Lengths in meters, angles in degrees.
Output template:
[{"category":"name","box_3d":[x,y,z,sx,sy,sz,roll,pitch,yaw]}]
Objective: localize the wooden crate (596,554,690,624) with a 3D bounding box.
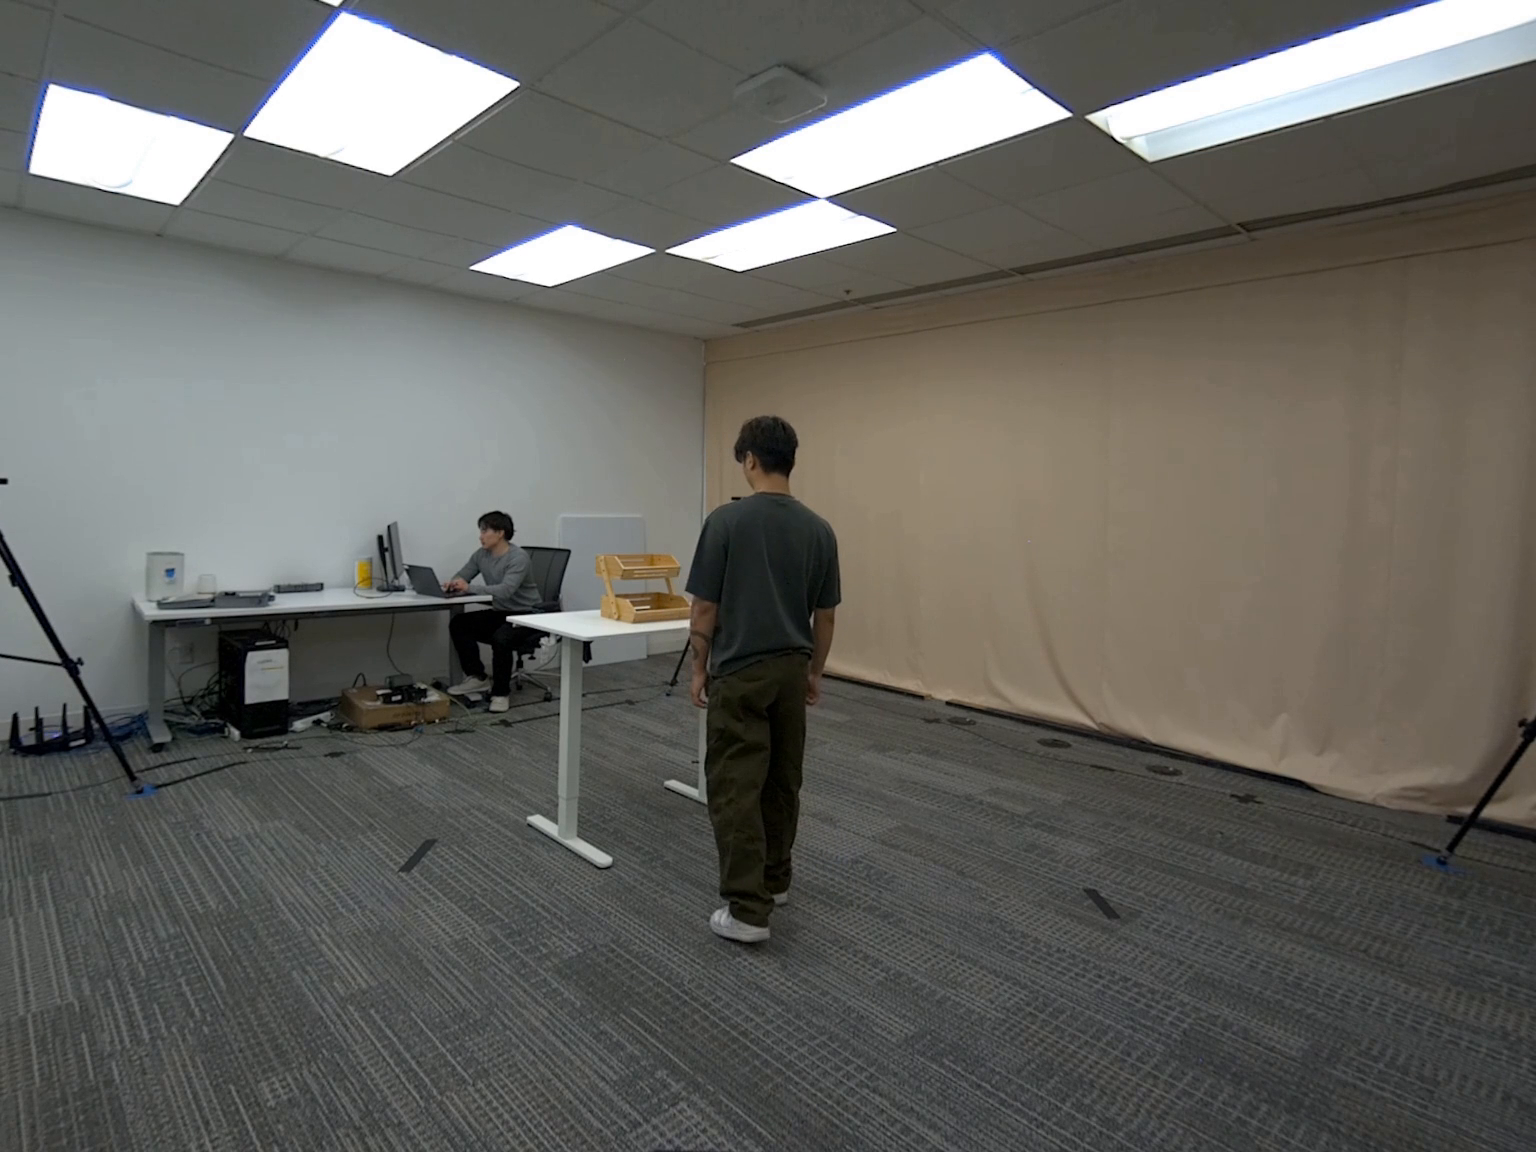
[{"category":"wooden crate","box_3d":[-0.530,0.042,3.560,0.317,0.273,0.310,-1,5,-43]}]
